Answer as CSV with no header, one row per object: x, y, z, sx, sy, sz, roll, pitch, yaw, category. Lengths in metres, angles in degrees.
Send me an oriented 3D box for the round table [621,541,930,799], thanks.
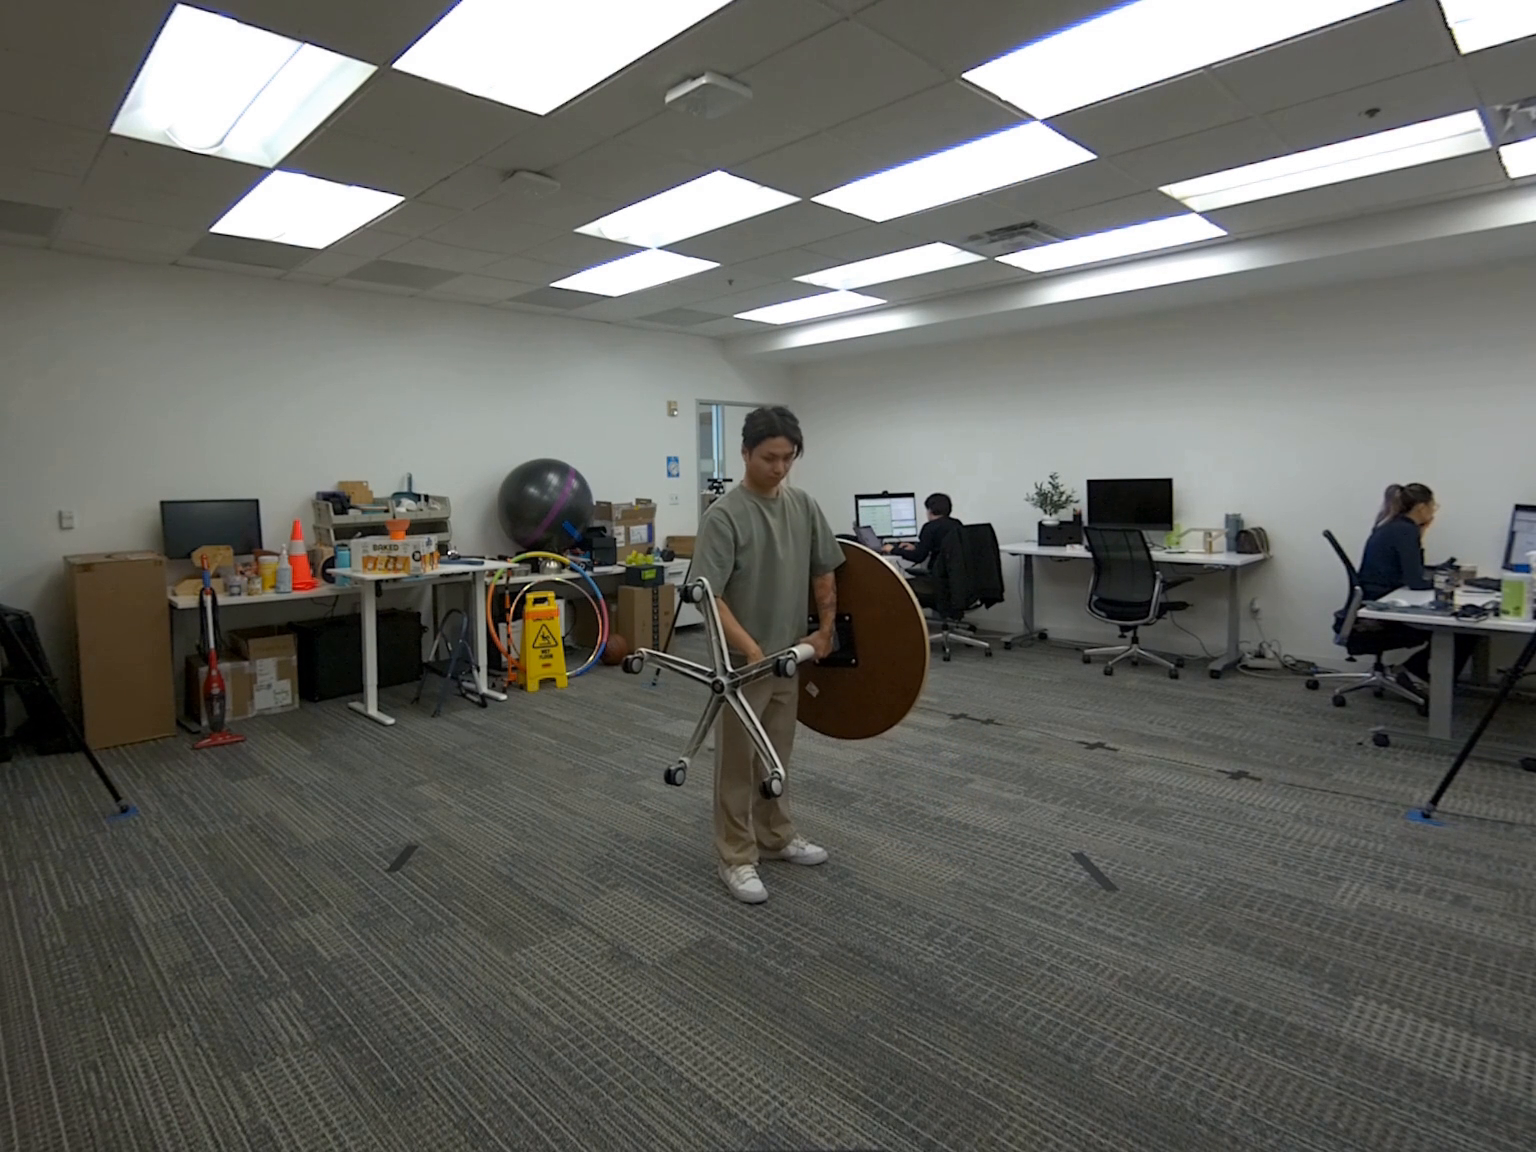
0.032,0.313,2.927,0.808,0.779,0.770,3,11,37,round table
